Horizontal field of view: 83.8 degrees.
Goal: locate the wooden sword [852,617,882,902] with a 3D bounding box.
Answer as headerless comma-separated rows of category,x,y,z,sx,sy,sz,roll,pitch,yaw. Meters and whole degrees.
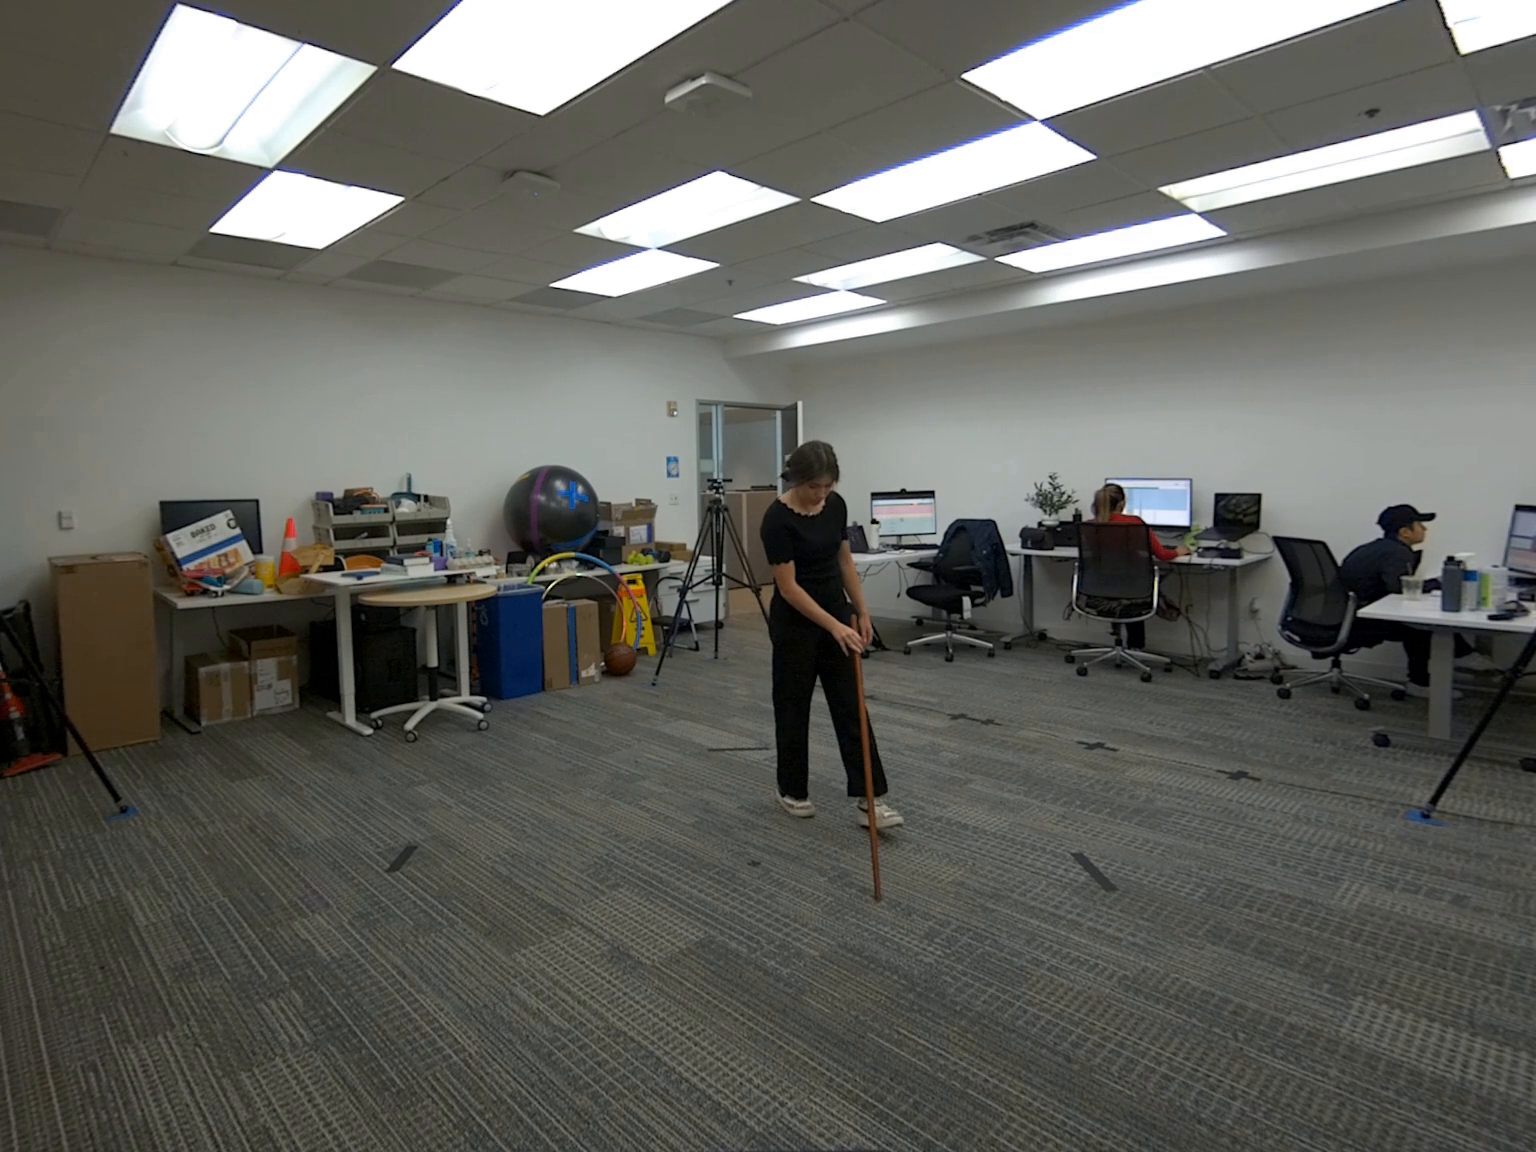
wooden sword,0.352,0.639,3.081,0.052,1.051,0.023,-23,-36,28
